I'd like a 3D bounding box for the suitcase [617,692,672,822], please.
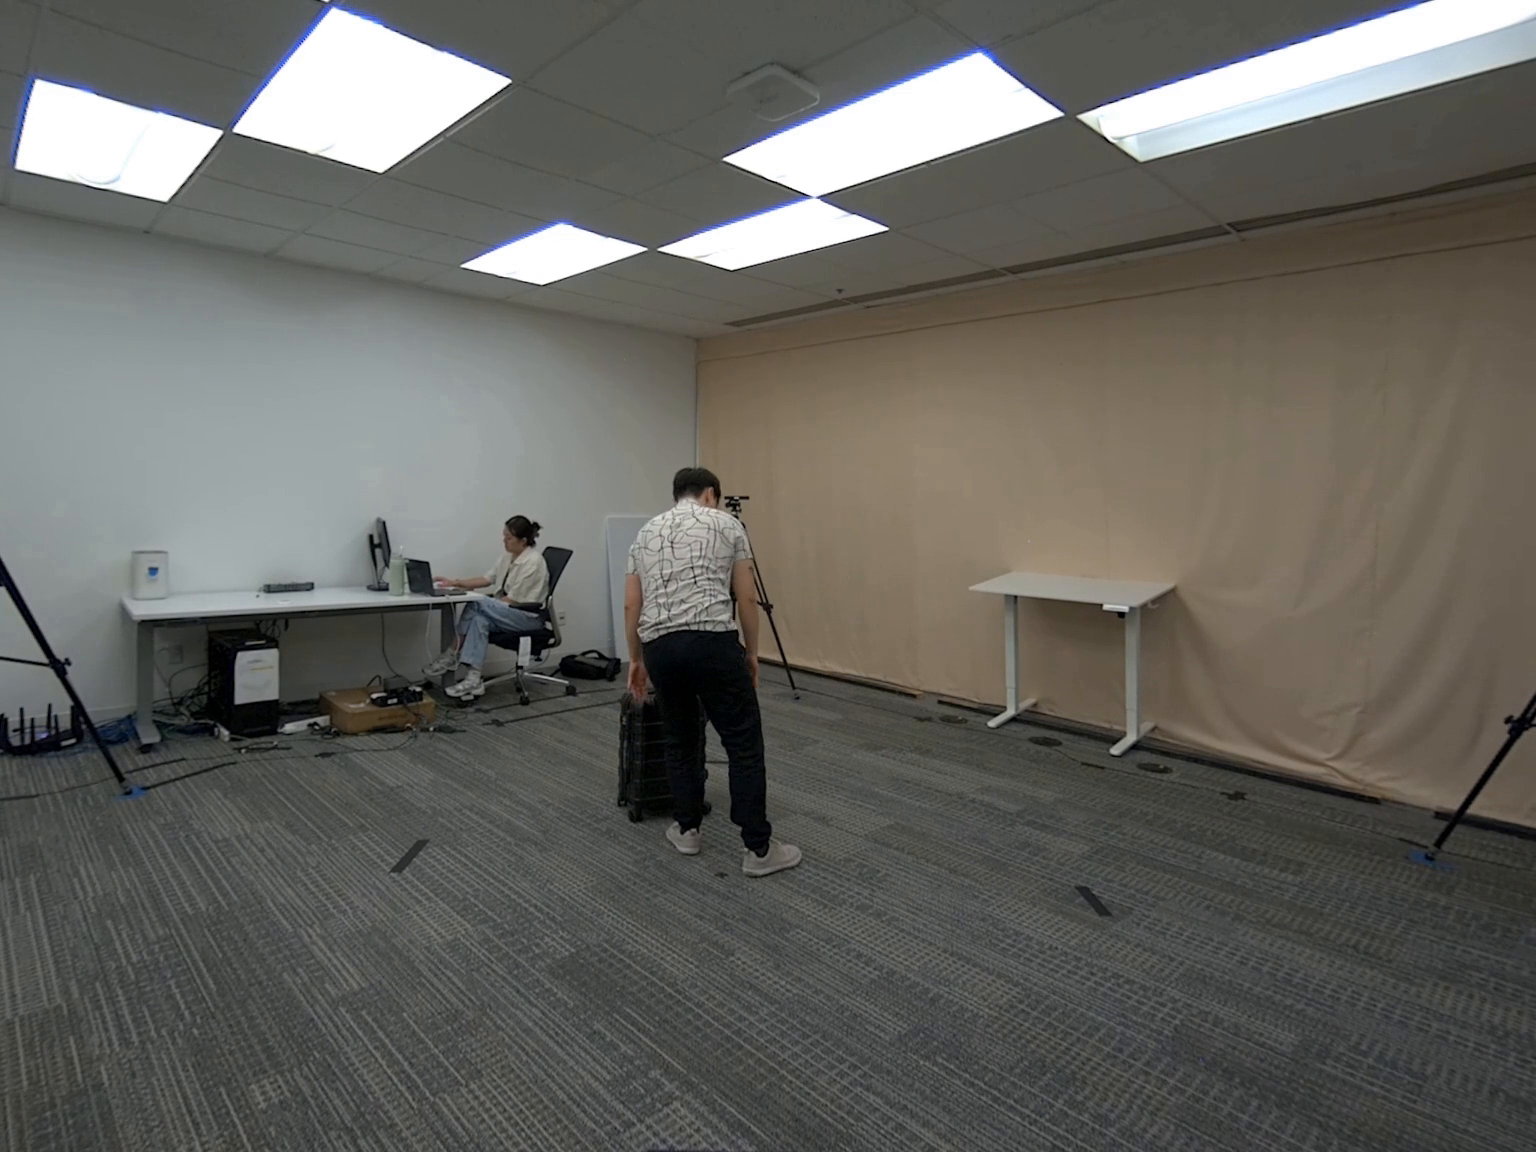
[{"bbox_3d":[-0.483,0.767,3.735,0.368,0.548,0.253,-1,3,-26],"label":"suitcase"}]
